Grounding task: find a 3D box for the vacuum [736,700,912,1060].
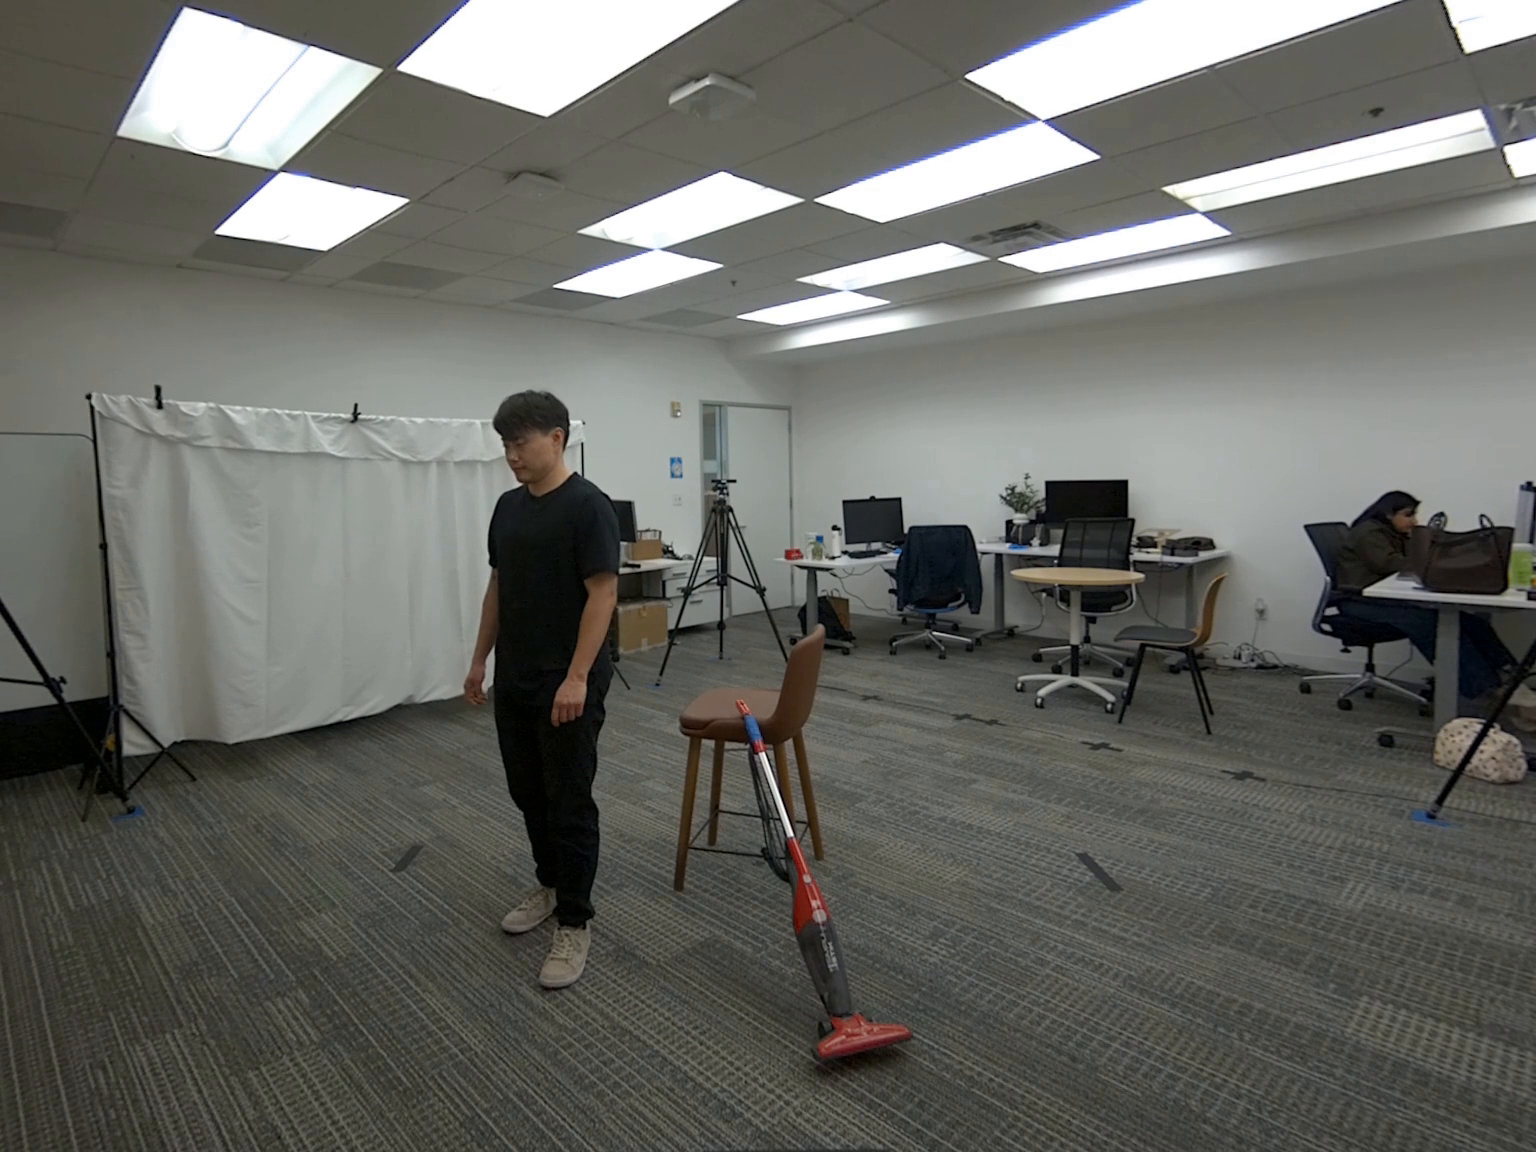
[{"bbox_3d":[0.062,0.785,2.467,0.248,0.141,1.088,-5,42,-19],"label":"vacuum"}]
